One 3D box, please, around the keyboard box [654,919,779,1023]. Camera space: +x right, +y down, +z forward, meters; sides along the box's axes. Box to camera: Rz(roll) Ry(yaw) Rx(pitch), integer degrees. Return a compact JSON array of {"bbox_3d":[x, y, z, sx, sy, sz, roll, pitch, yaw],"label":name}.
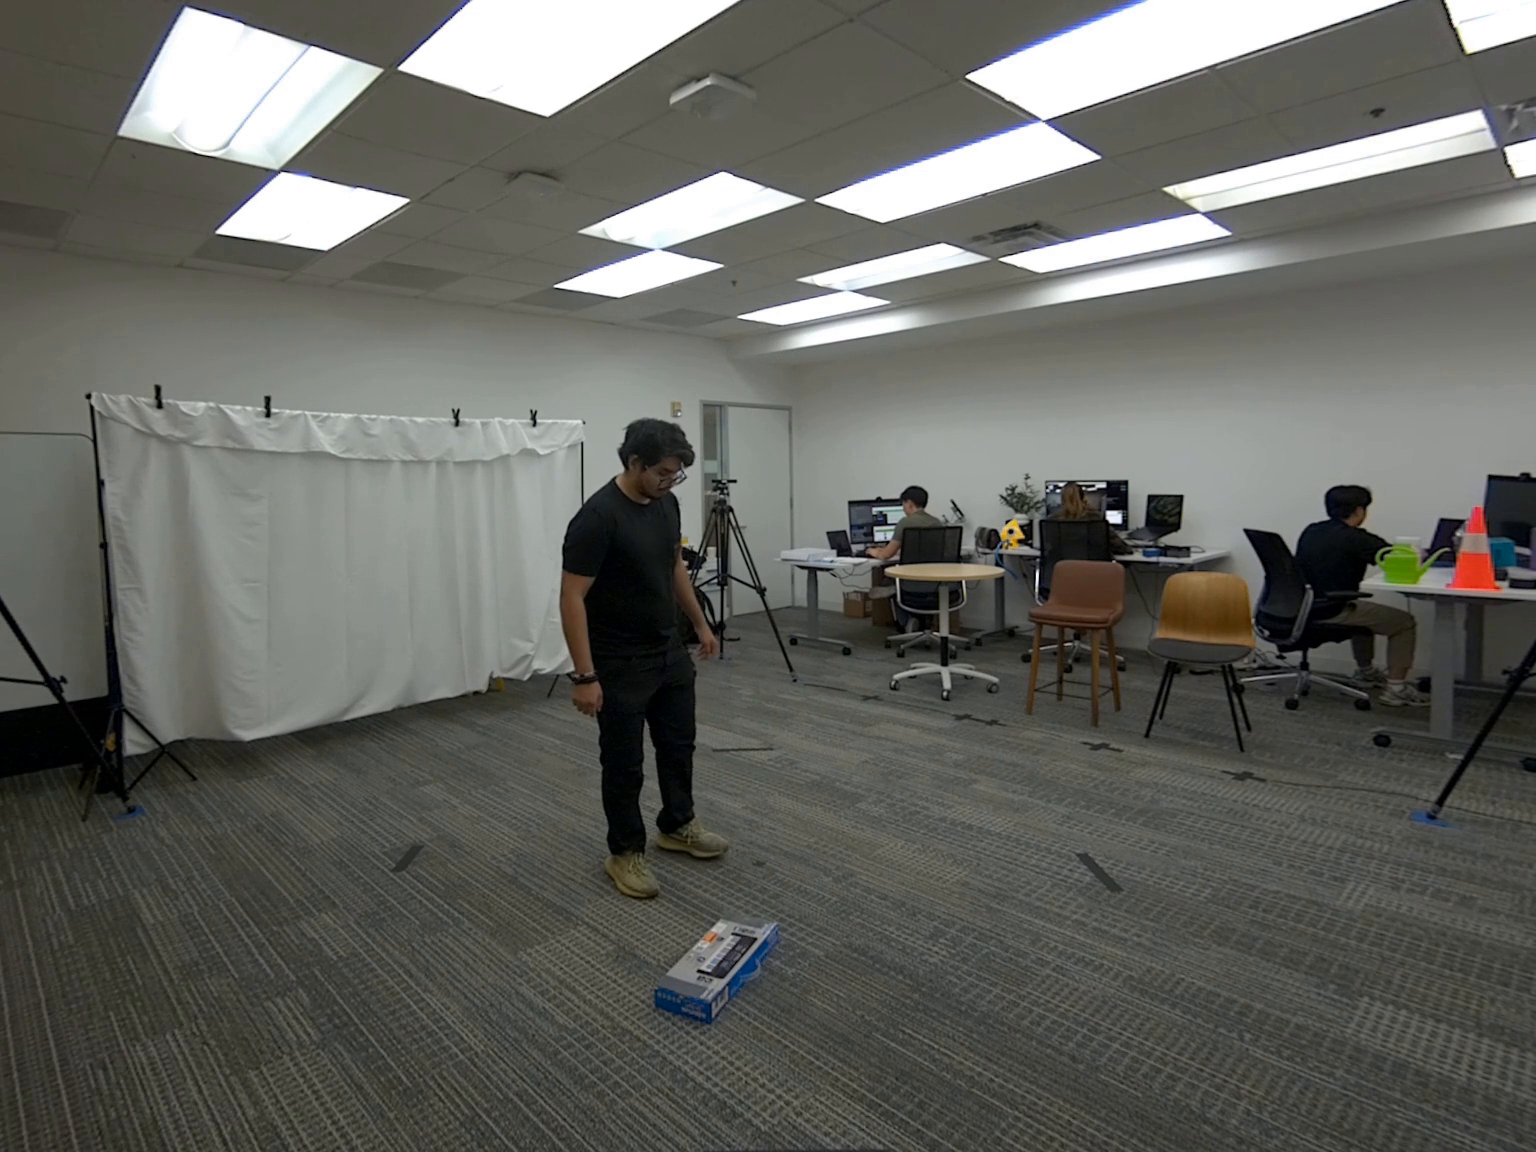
[{"bbox_3d":[-0.131,1.099,2.428,0.180,0.059,0.429,1,7,25],"label":"keyboard box"}]
